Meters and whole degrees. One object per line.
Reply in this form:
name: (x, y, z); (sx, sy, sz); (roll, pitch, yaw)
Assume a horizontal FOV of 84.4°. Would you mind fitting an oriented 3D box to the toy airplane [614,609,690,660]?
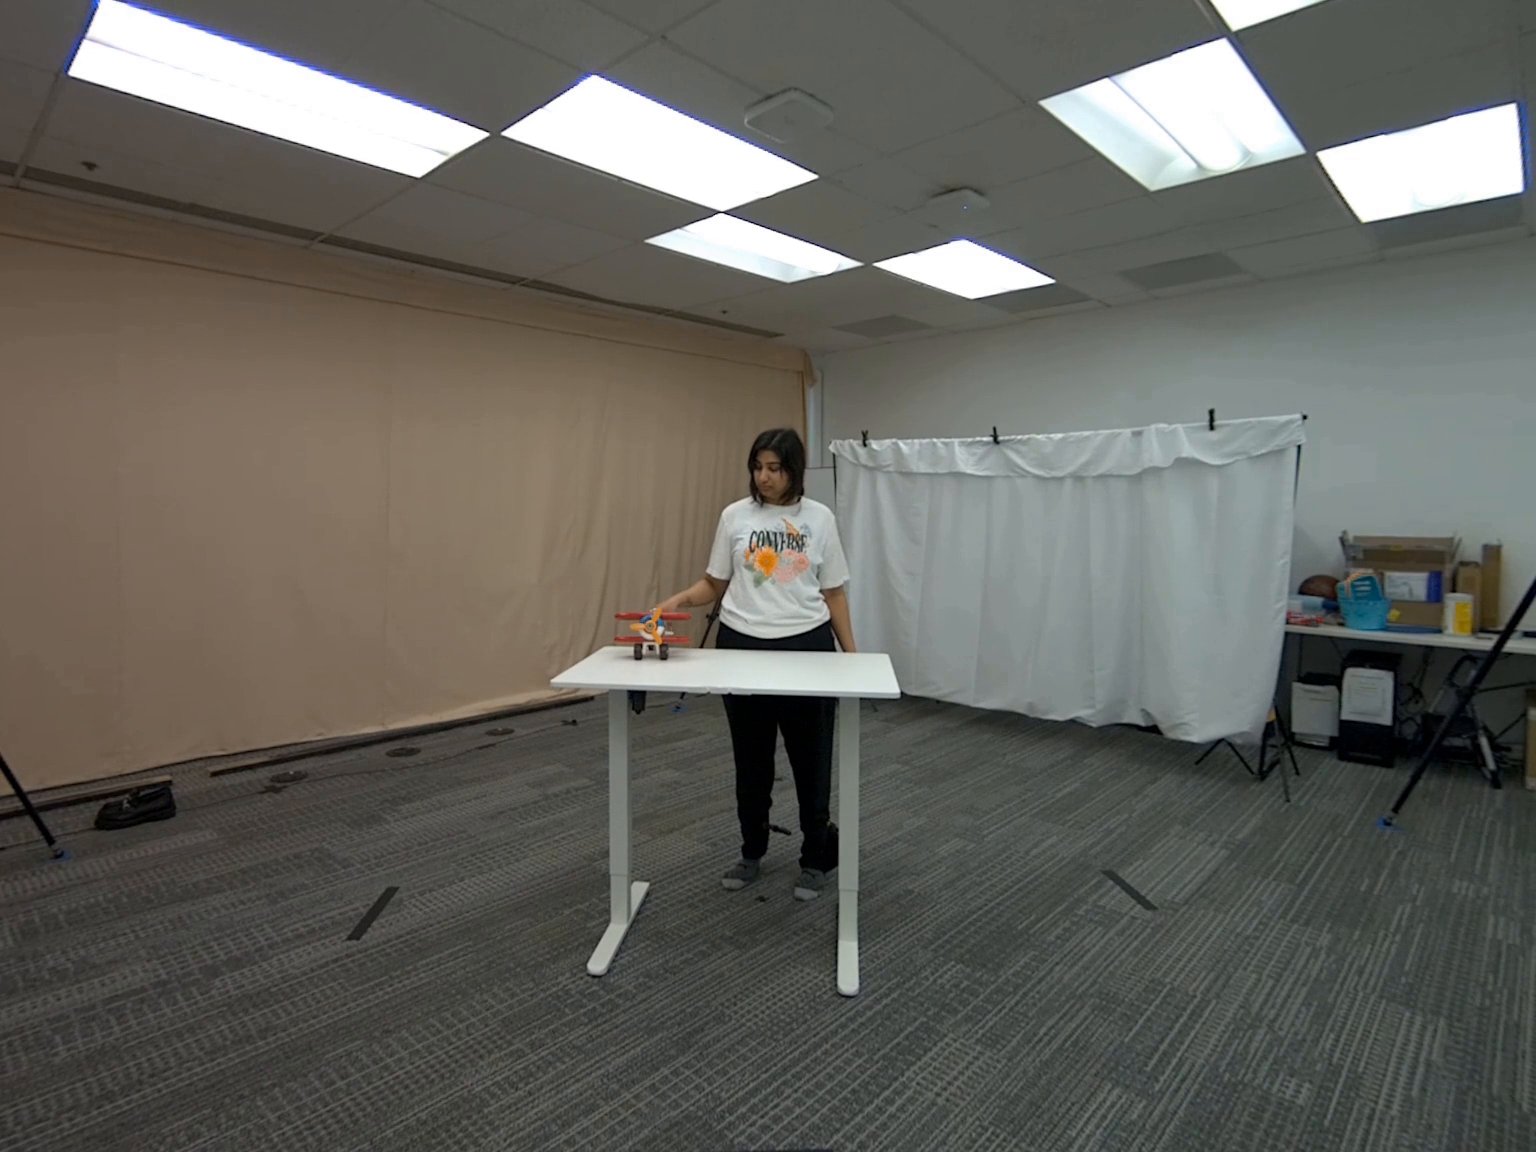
toy airplane: (-0.412, 0.193, 2.862); (0.245, 0.156, 0.266); (-3, 7, -27)
